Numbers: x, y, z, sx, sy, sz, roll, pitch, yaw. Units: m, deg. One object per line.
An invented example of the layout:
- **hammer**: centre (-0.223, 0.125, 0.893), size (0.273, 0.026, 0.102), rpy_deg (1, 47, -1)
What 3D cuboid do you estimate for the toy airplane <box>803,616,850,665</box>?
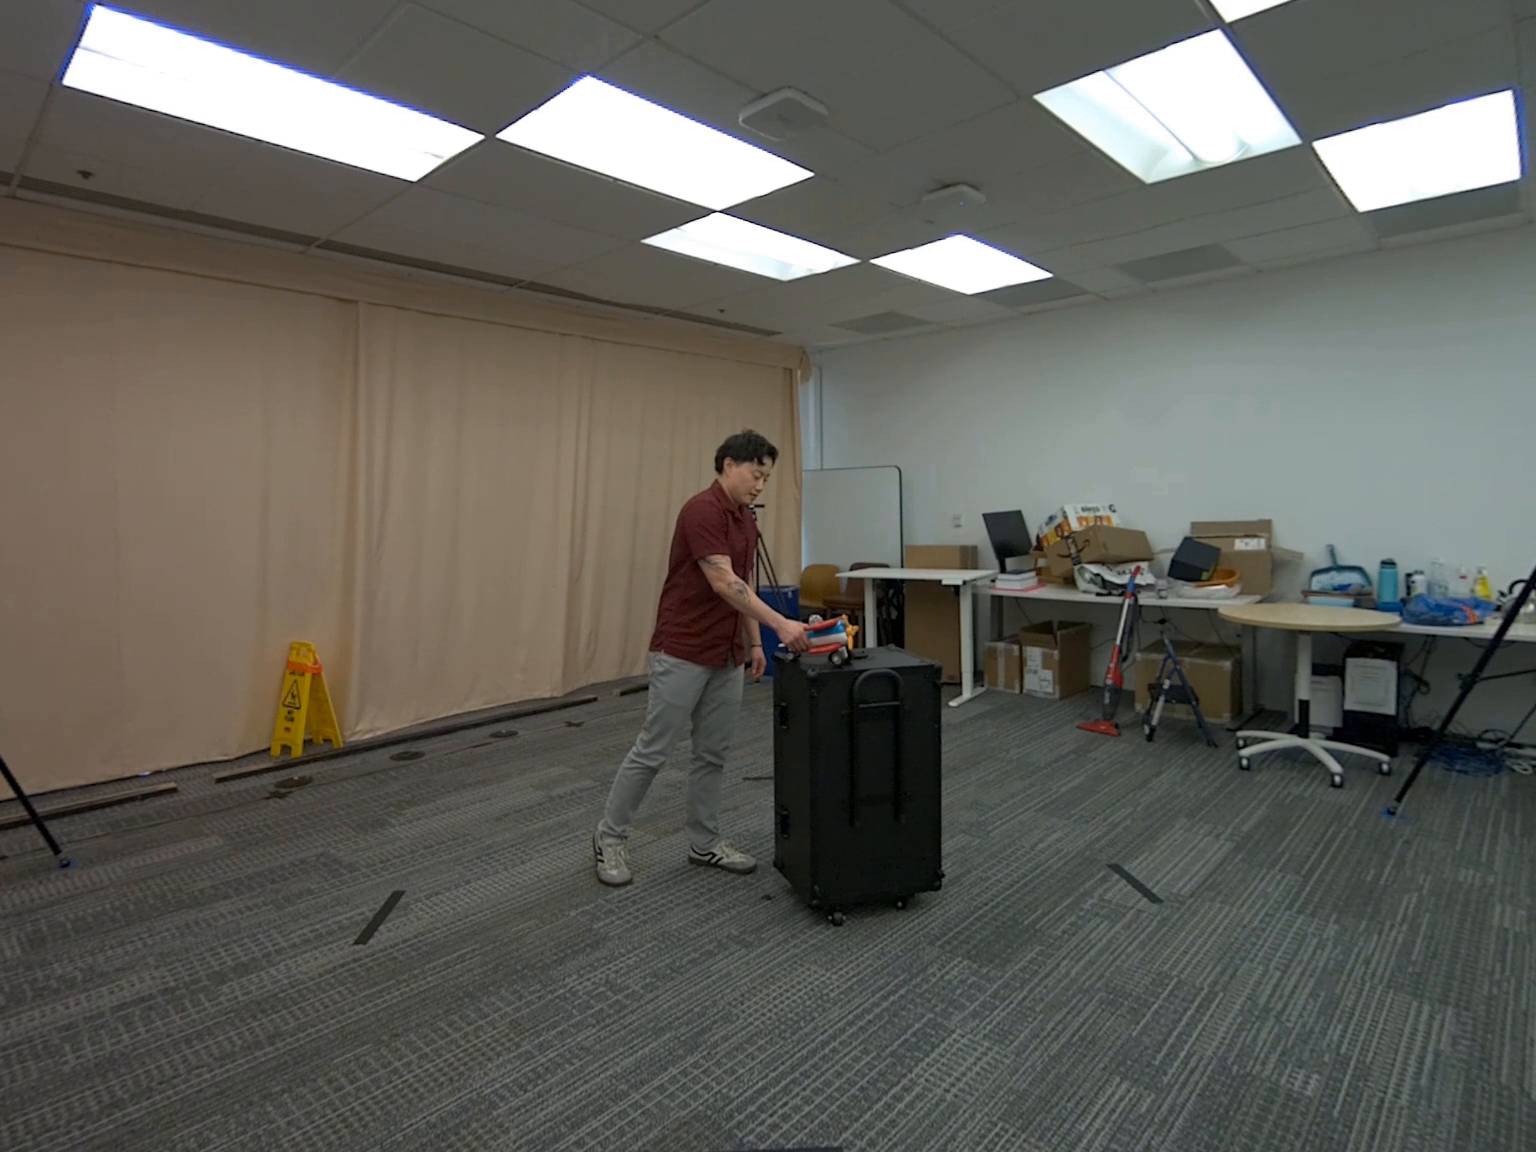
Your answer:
- **toy airplane**: centre (0.167, 0.216, 2.848), size (0.260, 0.156, 0.251), rpy_deg (1, 4, 1)
